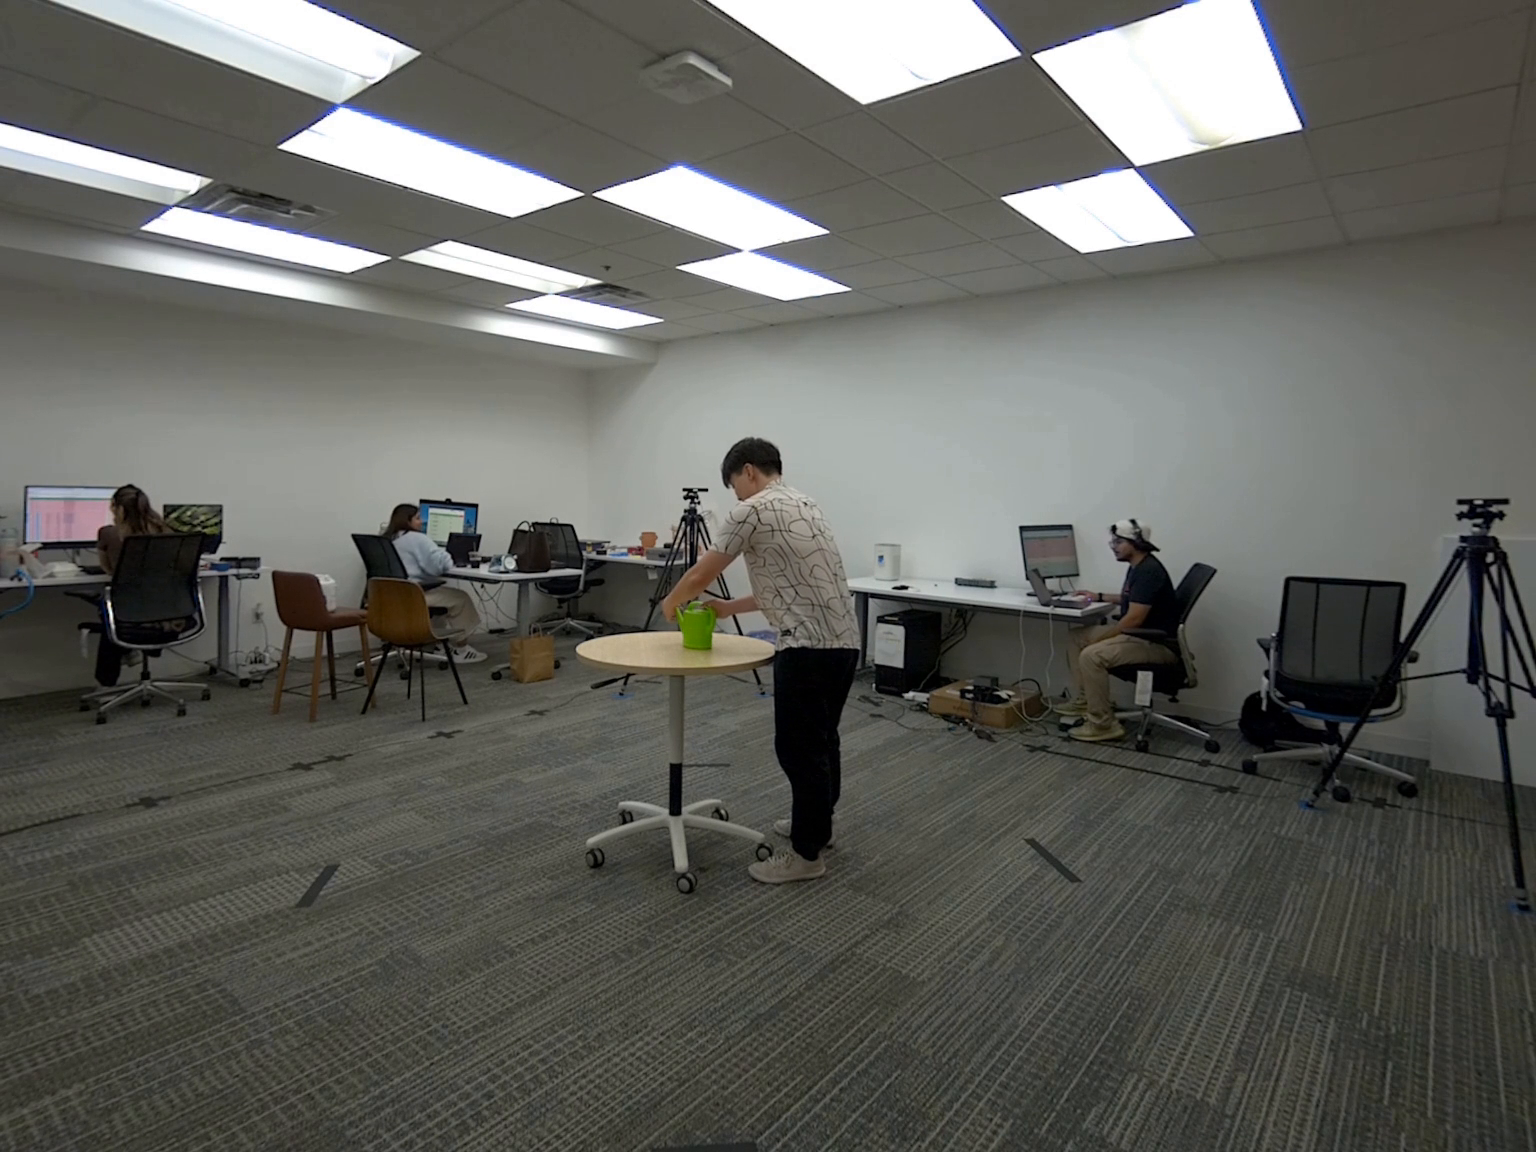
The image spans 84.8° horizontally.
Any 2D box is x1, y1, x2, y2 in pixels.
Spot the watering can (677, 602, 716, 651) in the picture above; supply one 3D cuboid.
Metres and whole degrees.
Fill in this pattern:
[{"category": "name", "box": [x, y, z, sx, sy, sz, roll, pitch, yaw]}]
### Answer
[{"category": "watering can", "box": [-0.304, 0.180, 3.295, 0.095, 0.176, 0.287, 5, 4, -33]}]
